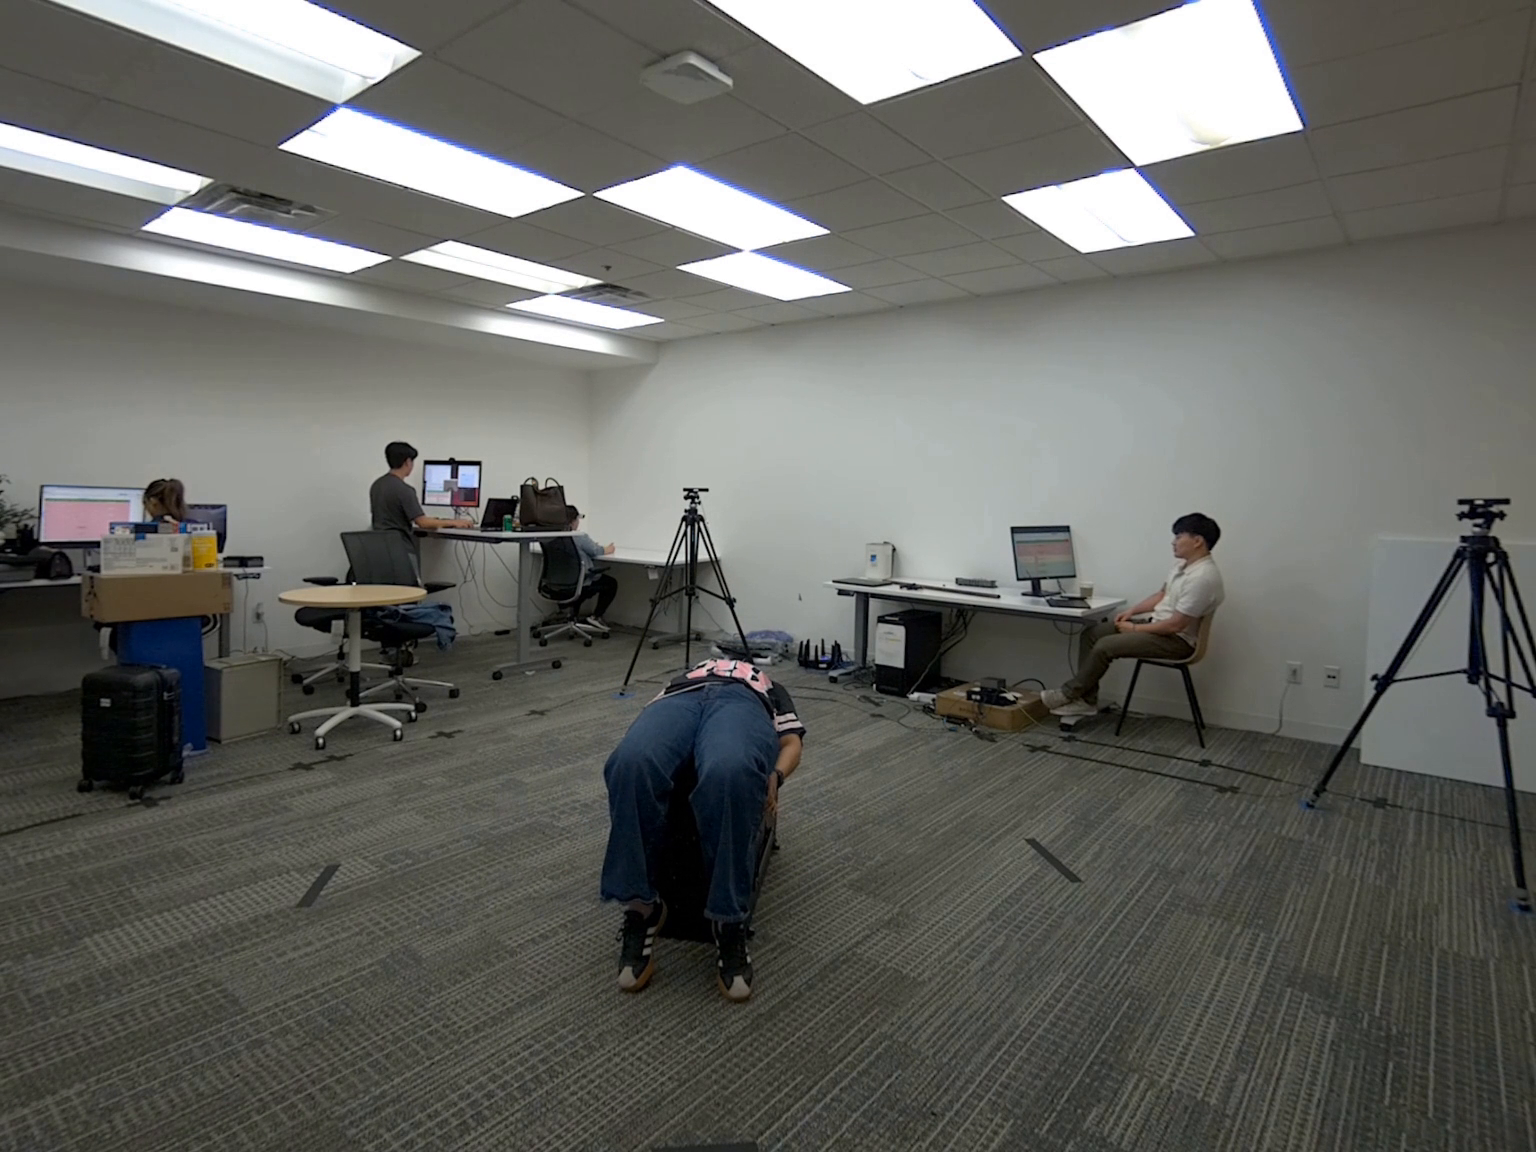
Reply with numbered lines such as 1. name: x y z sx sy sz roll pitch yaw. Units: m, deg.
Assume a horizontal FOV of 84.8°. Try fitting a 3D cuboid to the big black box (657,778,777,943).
1. big black box: -0.185 0.820 3.010 0.389 0.522 0.862 1 4 9
